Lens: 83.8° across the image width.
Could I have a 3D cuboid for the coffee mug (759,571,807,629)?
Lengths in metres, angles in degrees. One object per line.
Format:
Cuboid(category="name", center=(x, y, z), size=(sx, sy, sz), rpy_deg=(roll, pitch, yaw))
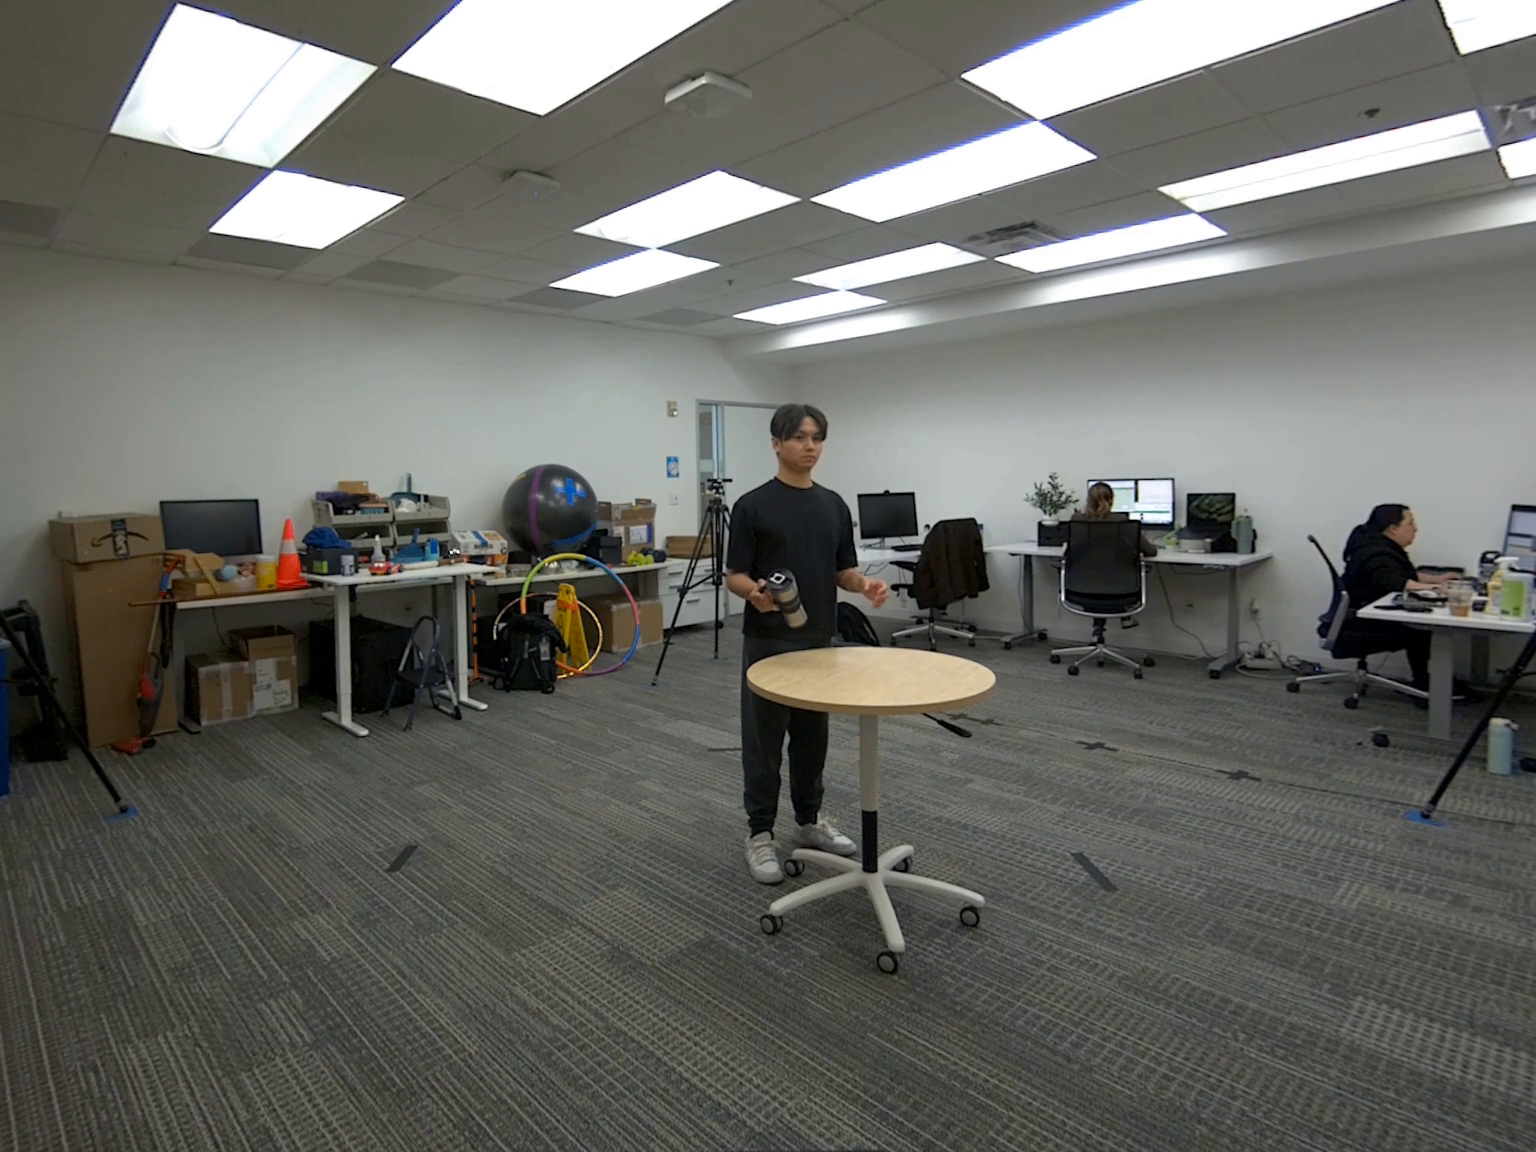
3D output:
Cuboid(category="coffee mug", center=(0.051, 0.071, 2.813), size=(0.126, 0.196, 0.088), rpy_deg=(24, 57, 39))
